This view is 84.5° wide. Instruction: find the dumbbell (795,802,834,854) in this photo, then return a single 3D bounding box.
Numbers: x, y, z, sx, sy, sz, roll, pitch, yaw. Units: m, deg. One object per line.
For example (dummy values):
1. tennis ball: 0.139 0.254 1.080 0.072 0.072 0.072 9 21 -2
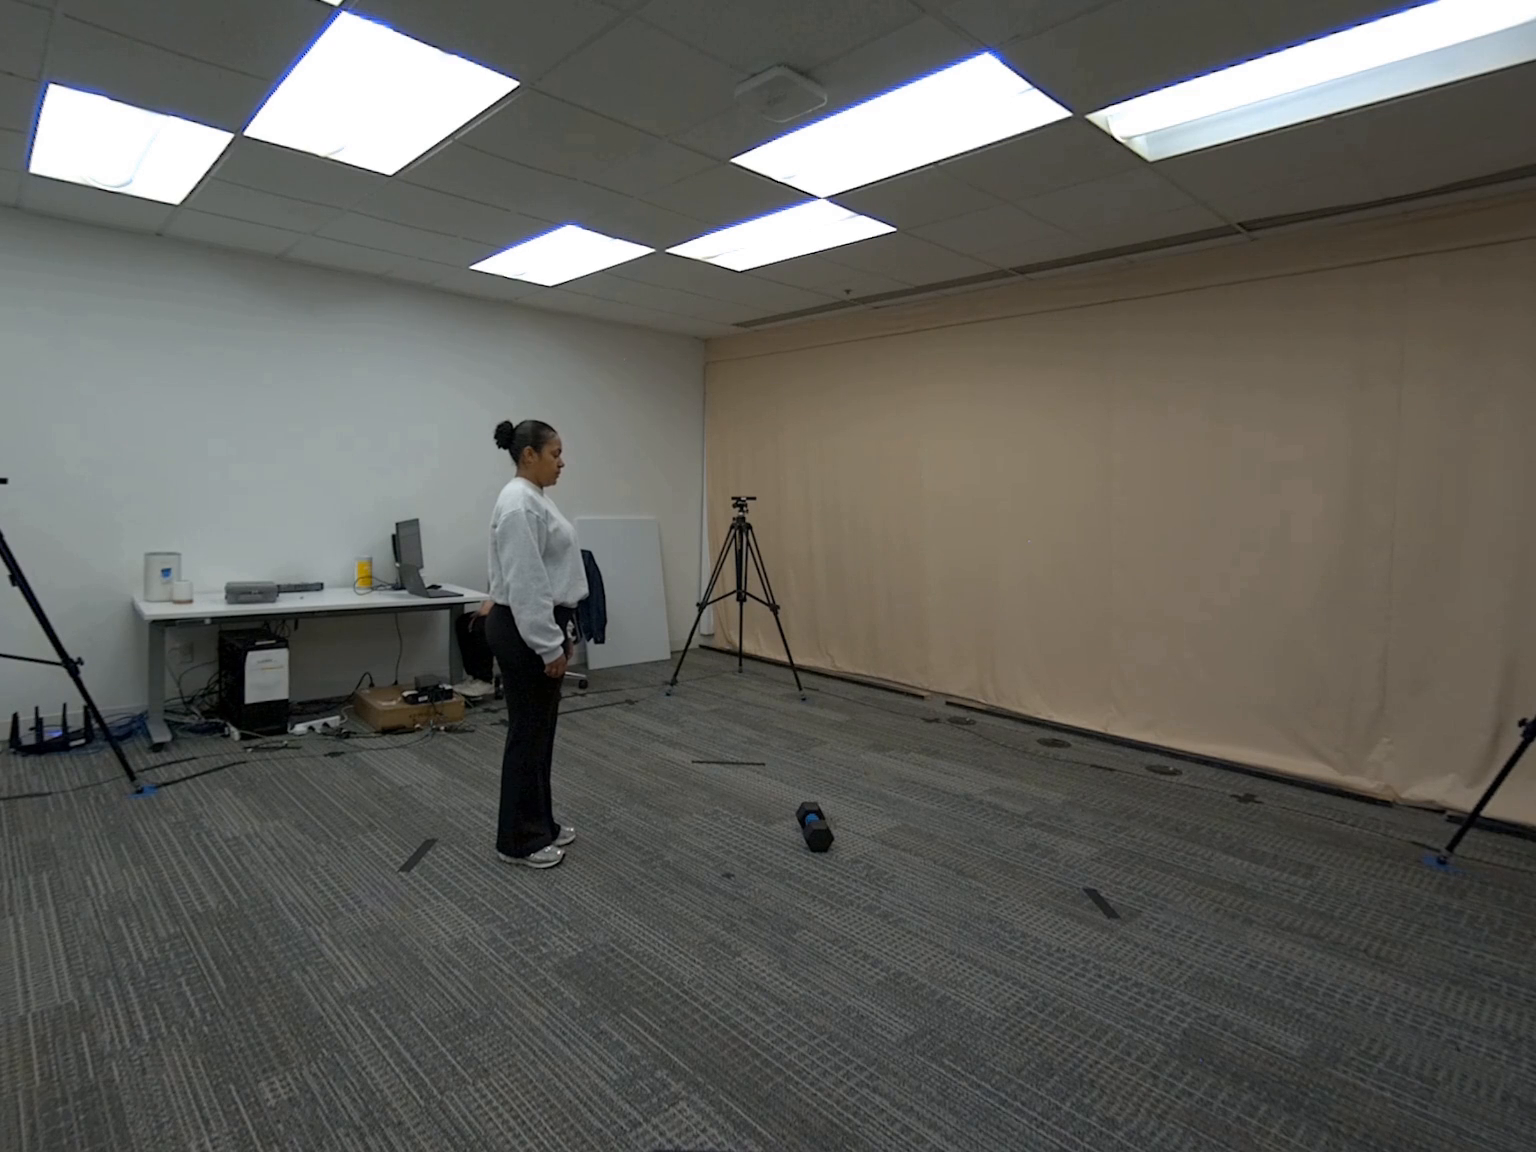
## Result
1. dumbbell: 0.179 1.029 3.465 0.108 0.123 0.295 31 2 -7
